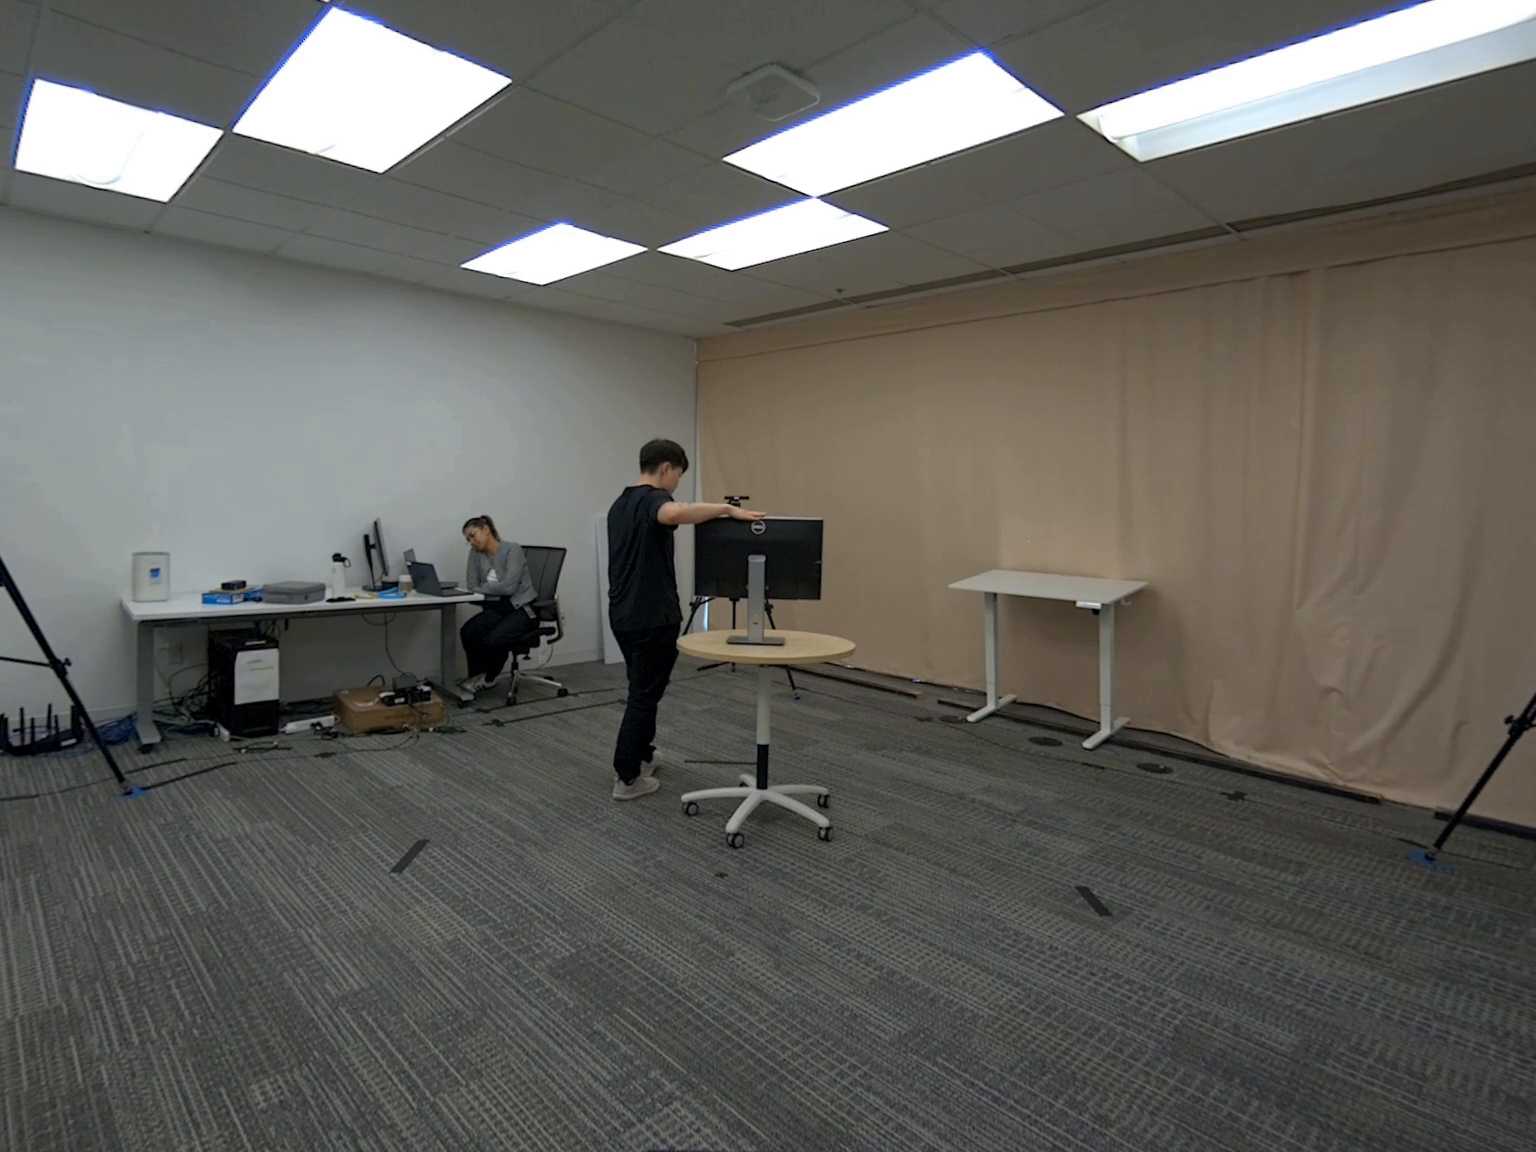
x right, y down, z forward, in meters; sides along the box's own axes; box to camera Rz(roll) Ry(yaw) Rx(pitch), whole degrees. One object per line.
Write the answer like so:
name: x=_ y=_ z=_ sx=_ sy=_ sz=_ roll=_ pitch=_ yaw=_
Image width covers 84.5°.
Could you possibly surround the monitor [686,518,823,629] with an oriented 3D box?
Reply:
monitor: x=-0.048 y=0.020 z=3.608 sx=0.540 sy=0.522 sz=0.187 roll=1 pitch=1 yaw=3
